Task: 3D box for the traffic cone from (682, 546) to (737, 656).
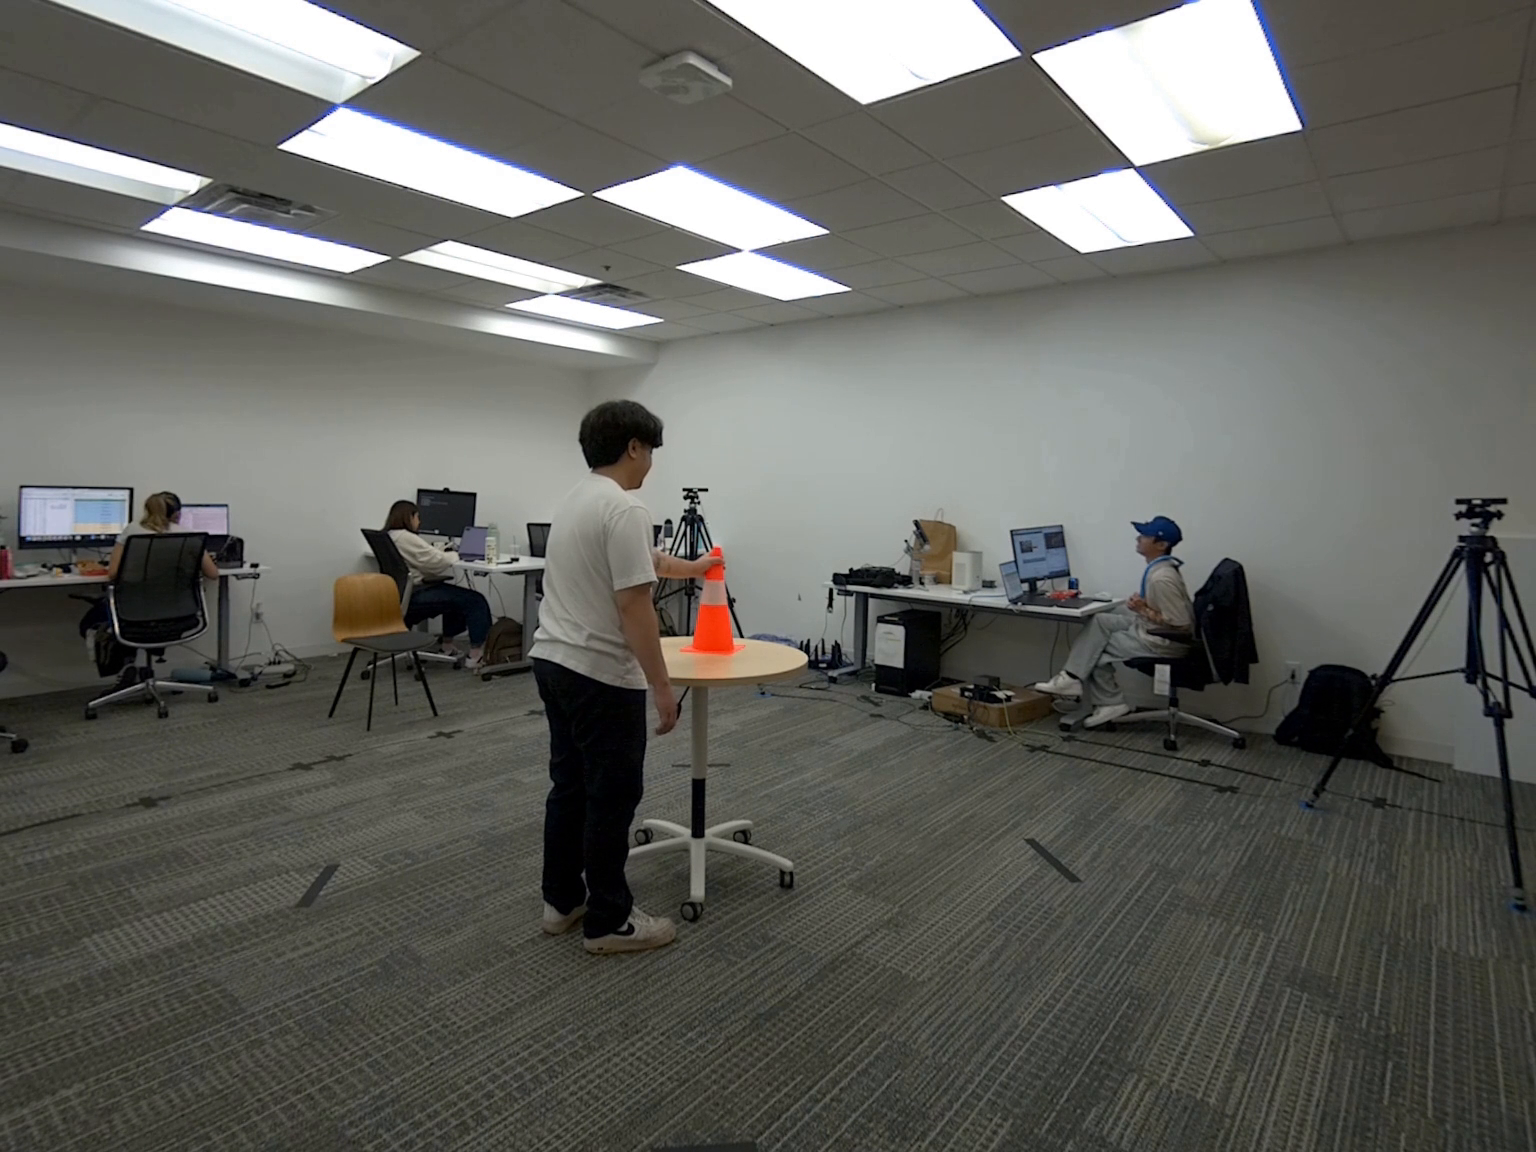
[{"bbox_3d":[-0.210,0.079,3.151,0.209,0.382,0.200,3,4,15],"label":"traffic cone"}]
